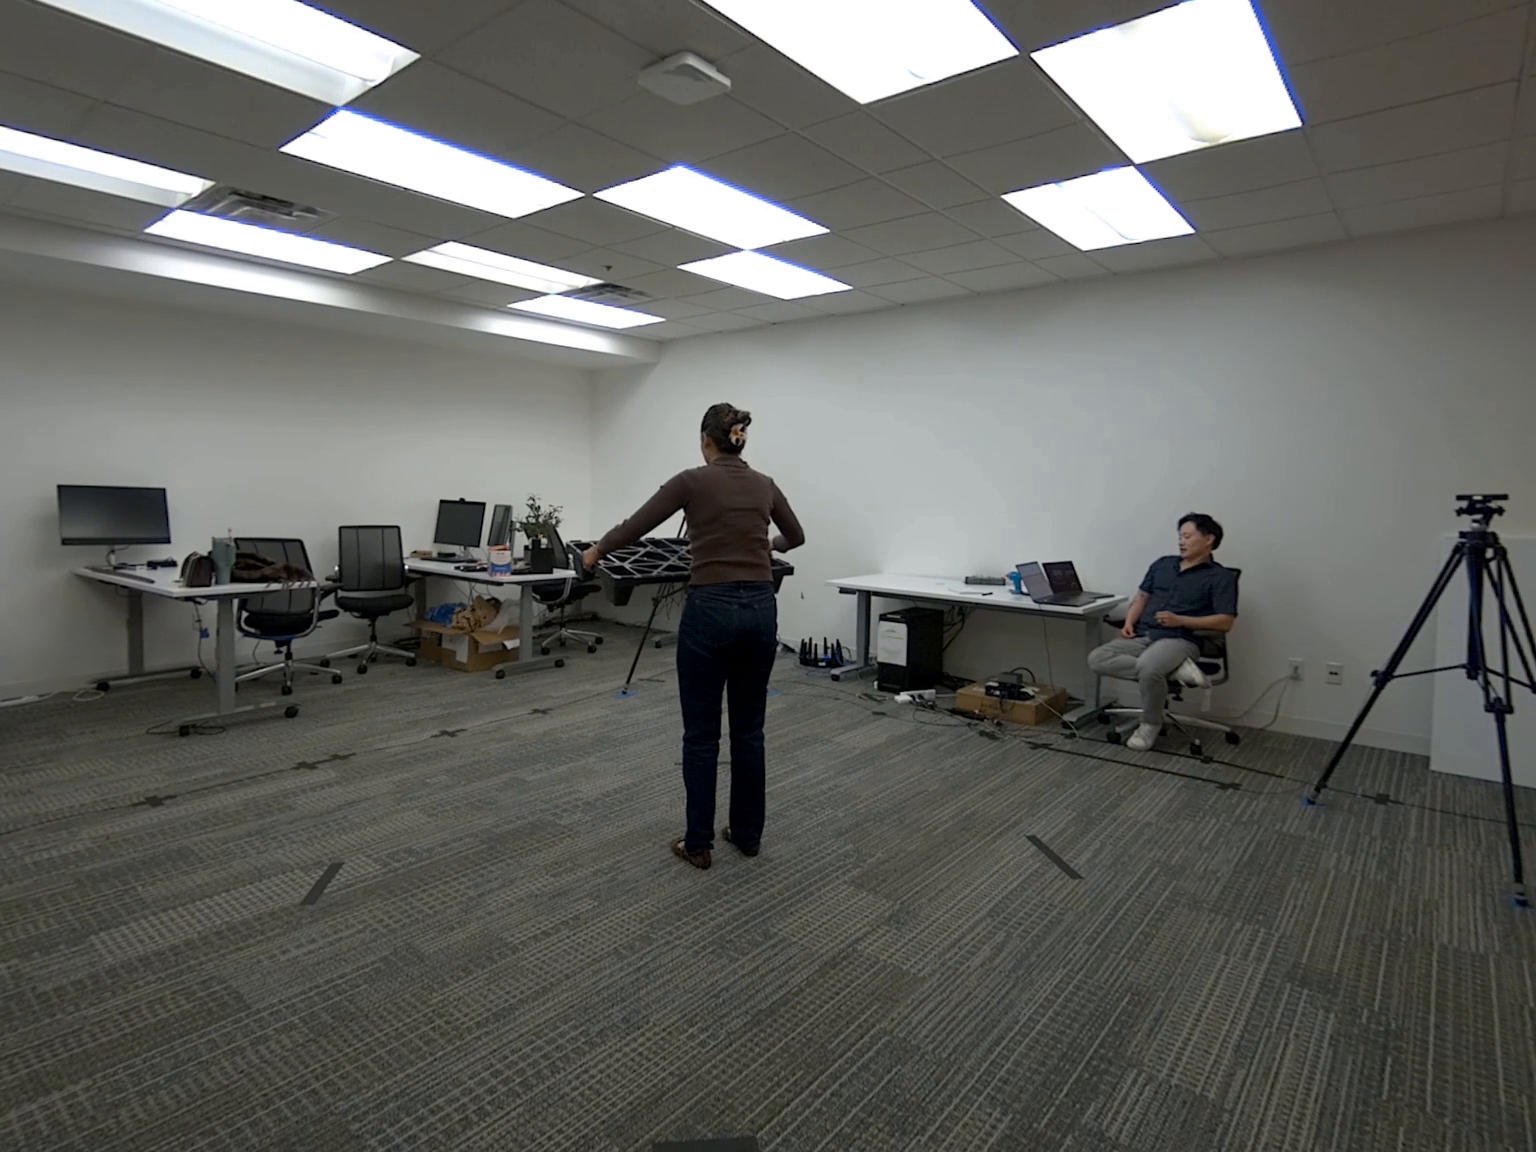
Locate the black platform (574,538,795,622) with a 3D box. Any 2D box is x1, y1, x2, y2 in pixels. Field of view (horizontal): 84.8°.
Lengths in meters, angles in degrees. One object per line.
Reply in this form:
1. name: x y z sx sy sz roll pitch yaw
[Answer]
1. black platform: -0.391 -0.031 3.586 0.785 0.141 0.628 -4 17 -29
